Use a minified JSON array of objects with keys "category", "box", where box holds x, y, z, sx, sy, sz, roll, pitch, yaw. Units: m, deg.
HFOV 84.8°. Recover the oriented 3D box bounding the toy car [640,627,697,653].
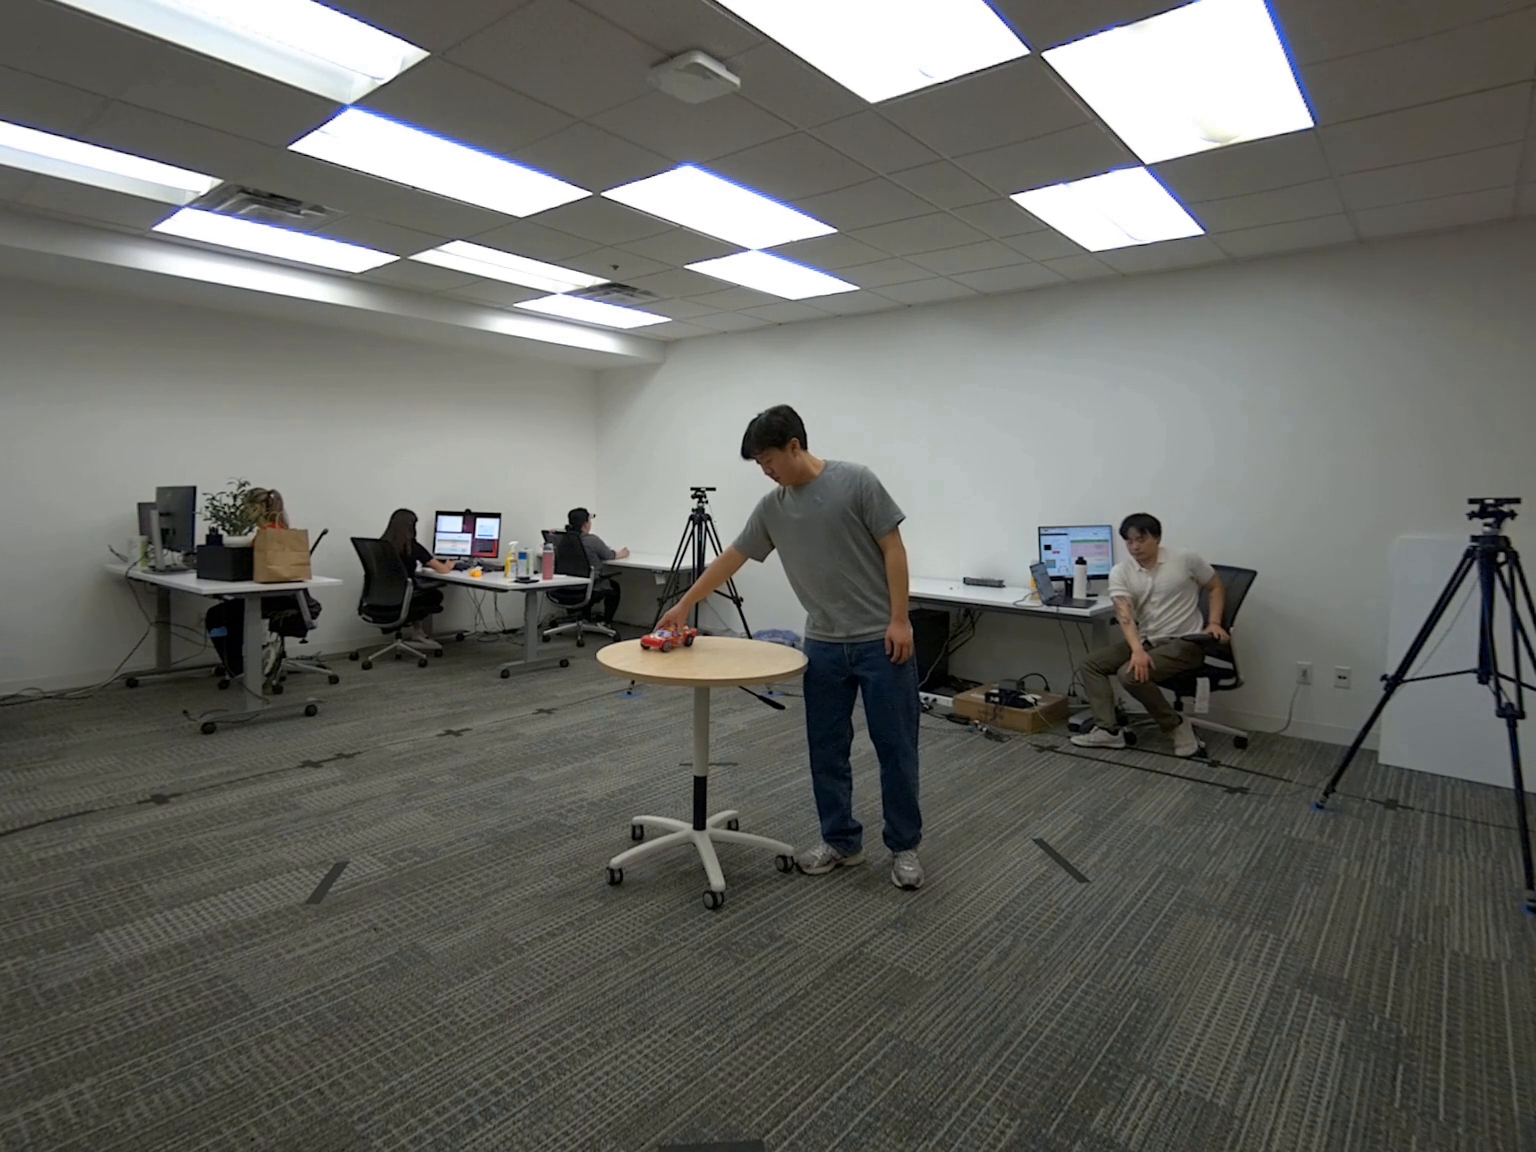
[{"category":"toy car","box":[-0.380,0.236,3.236,0.134,0.082,0.250,4,17,33]}]
